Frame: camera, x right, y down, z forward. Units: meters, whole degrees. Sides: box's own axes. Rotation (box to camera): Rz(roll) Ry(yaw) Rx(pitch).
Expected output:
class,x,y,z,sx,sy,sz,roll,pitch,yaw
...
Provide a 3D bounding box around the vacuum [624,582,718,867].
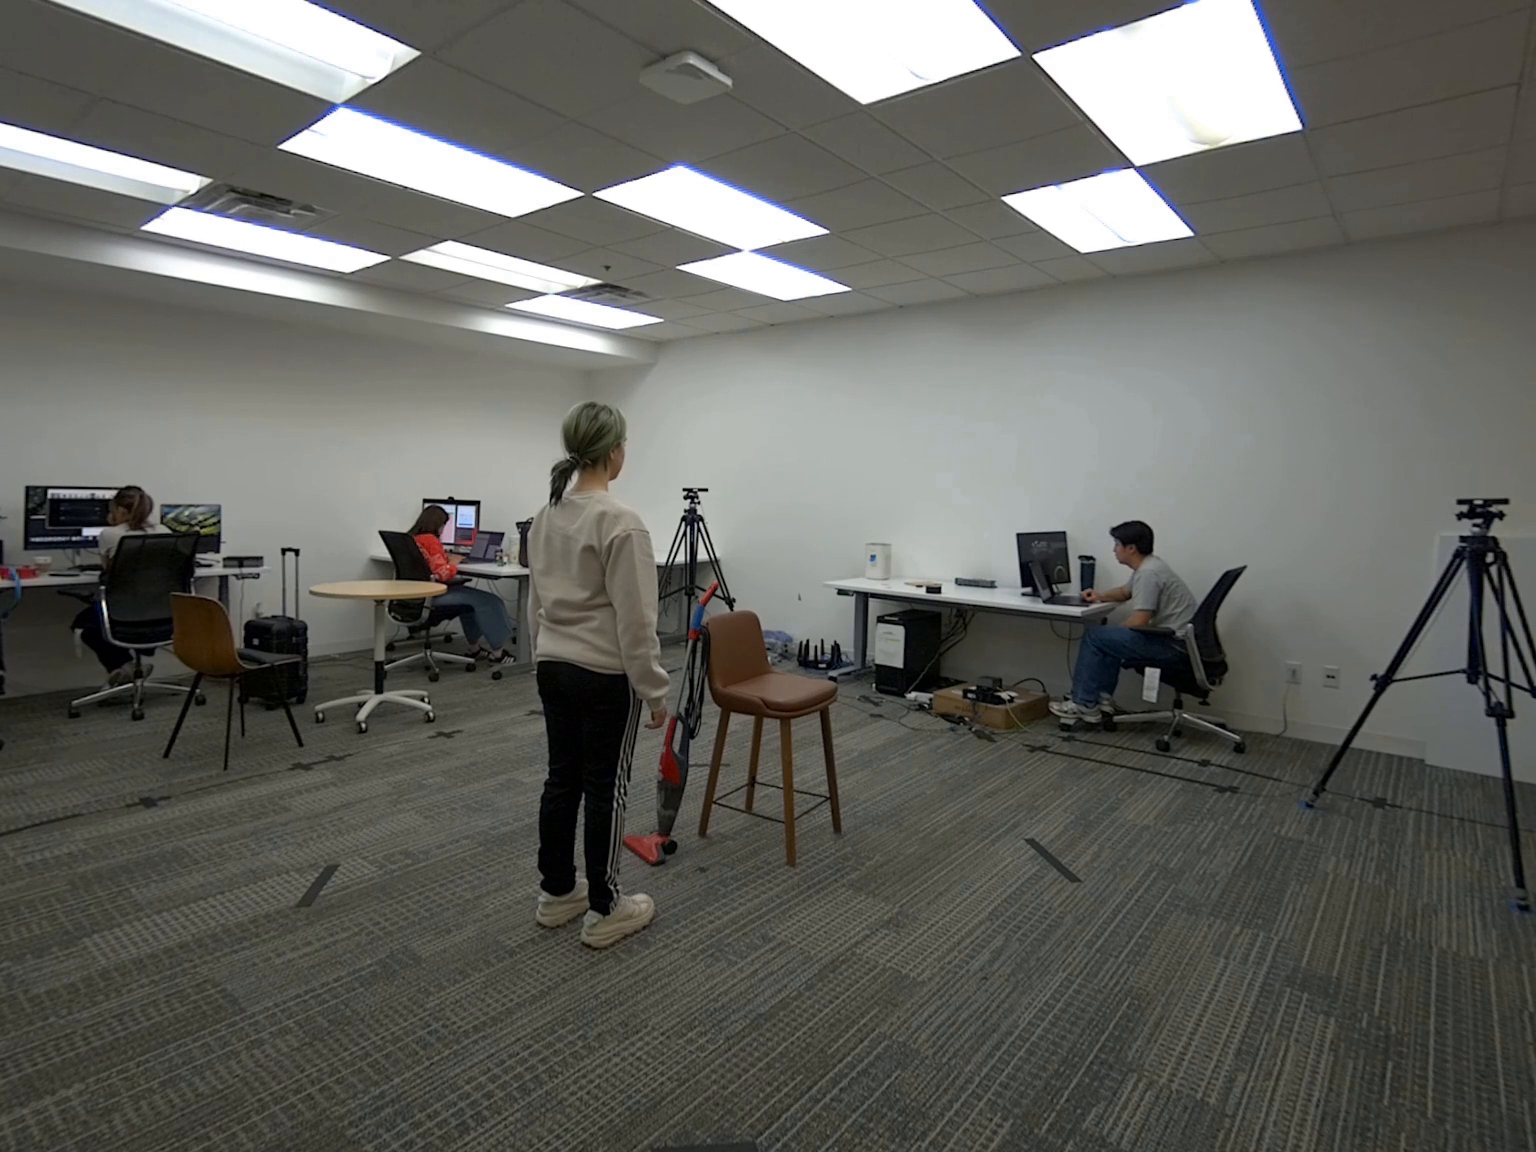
class,x,y,z,sx,sy,sz,roll,pitch,yaw
vacuum,-0.344,0.544,3.312,0.139,1.054,0.261,16,-7,-36
